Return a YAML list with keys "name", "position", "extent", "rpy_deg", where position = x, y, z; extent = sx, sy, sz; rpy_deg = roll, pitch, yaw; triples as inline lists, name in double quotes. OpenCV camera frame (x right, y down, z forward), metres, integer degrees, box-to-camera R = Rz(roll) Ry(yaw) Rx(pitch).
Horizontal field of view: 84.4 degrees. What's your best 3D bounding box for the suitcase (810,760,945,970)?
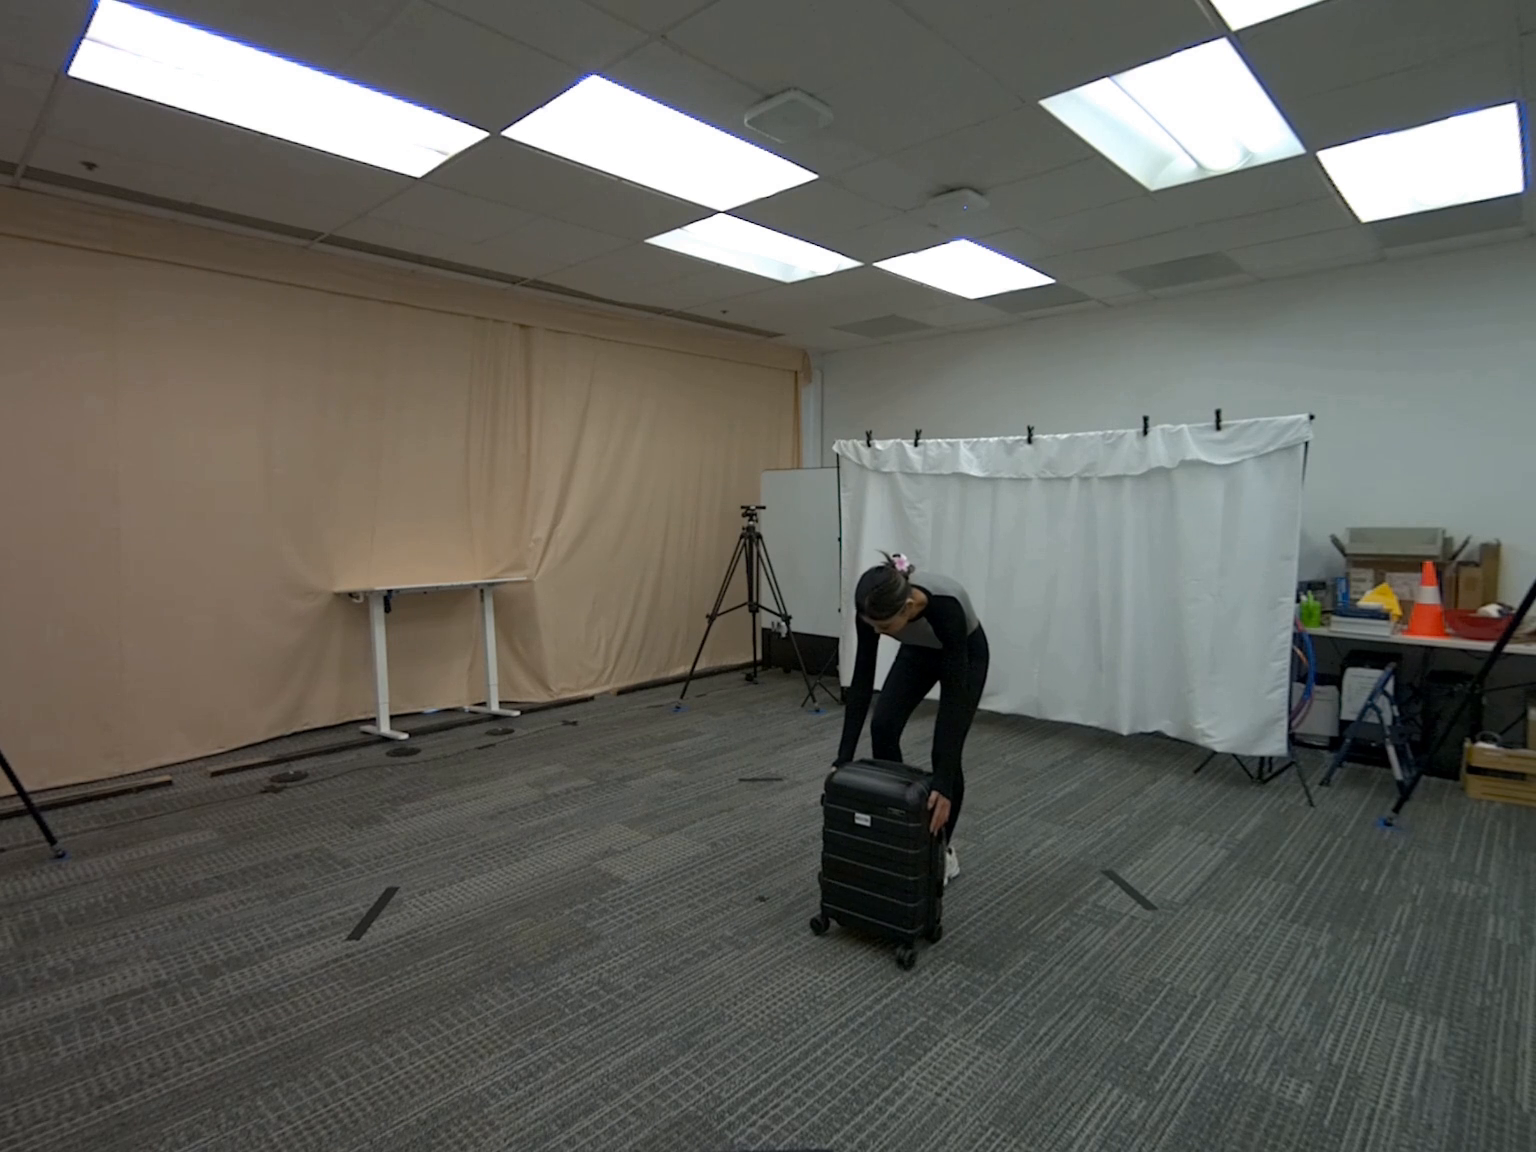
- name: "suitcase"
  position: [0.373, 0.892, 2.707]
  extent: [0.387, 0.548, 0.241]
  rpy_deg: [4, 3, 37]
